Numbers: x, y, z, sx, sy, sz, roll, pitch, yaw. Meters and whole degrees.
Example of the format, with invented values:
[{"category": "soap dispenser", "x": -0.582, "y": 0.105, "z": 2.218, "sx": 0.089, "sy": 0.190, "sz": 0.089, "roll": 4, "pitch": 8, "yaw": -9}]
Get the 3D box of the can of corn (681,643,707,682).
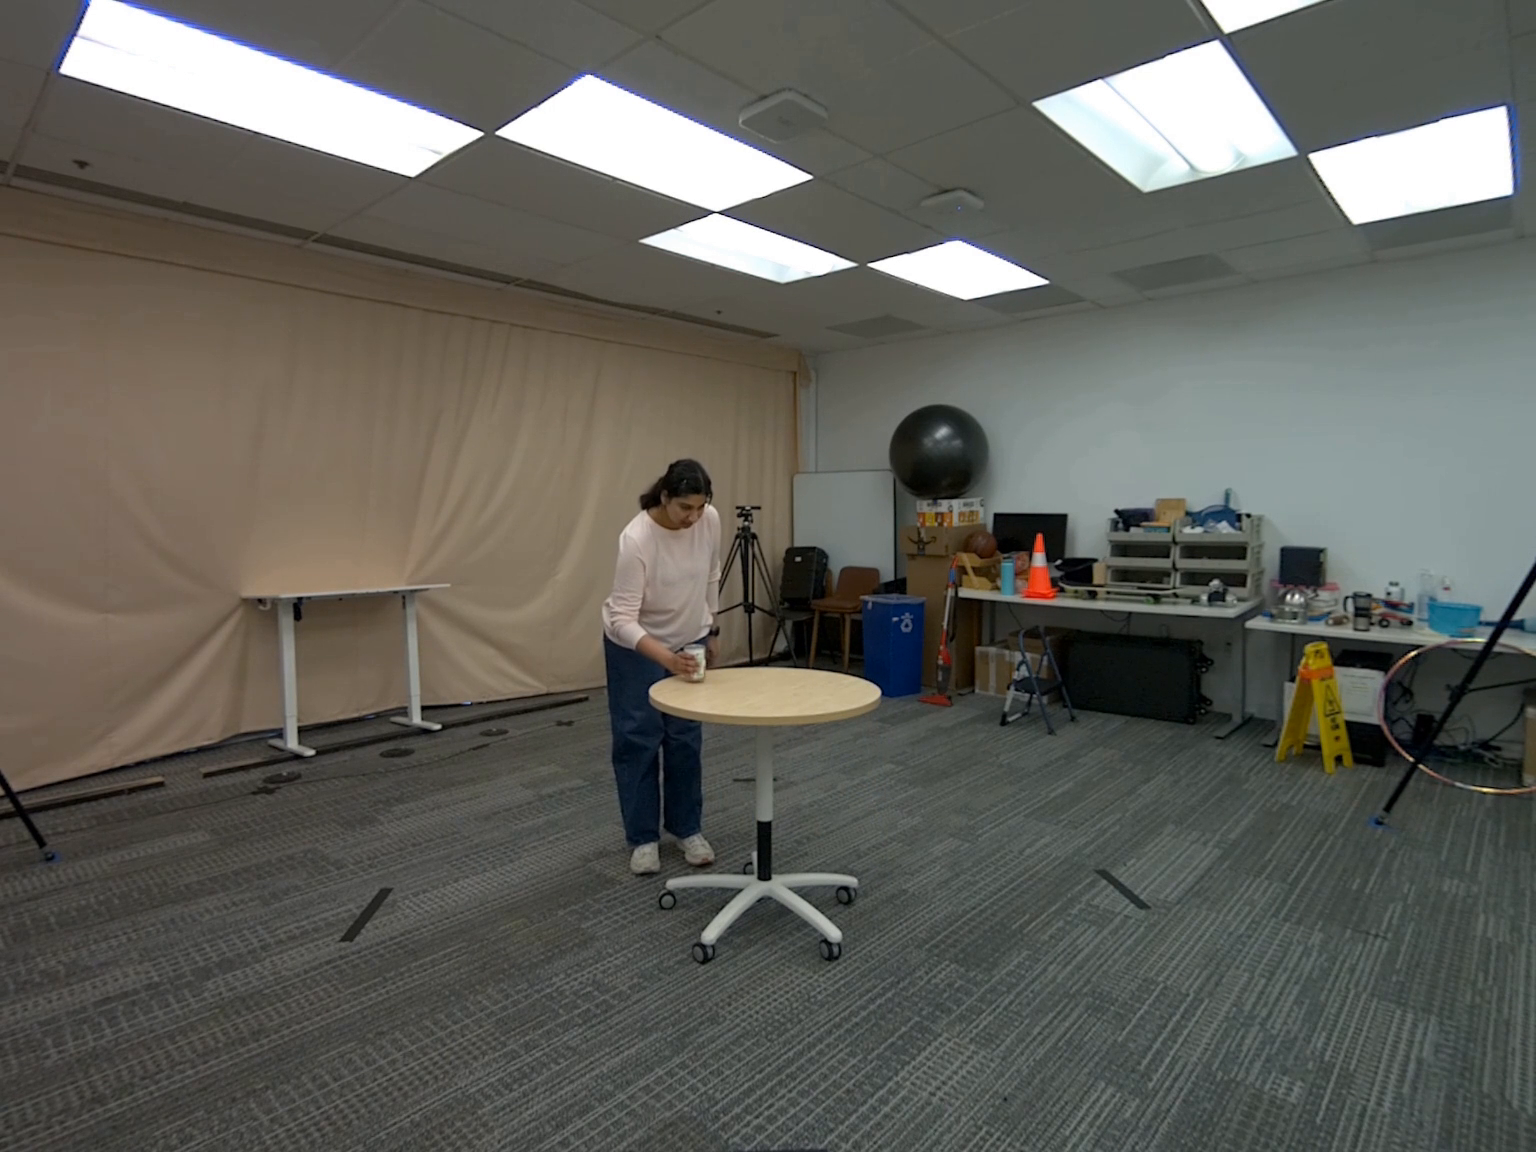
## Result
[{"category": "can of corn", "x": -0.248, "y": 0.293, "z": 2.916, "sx": 0.074, "sy": 0.111, "sz": 0.074, "roll": -2, "pitch": 4, "yaw": -2}]
